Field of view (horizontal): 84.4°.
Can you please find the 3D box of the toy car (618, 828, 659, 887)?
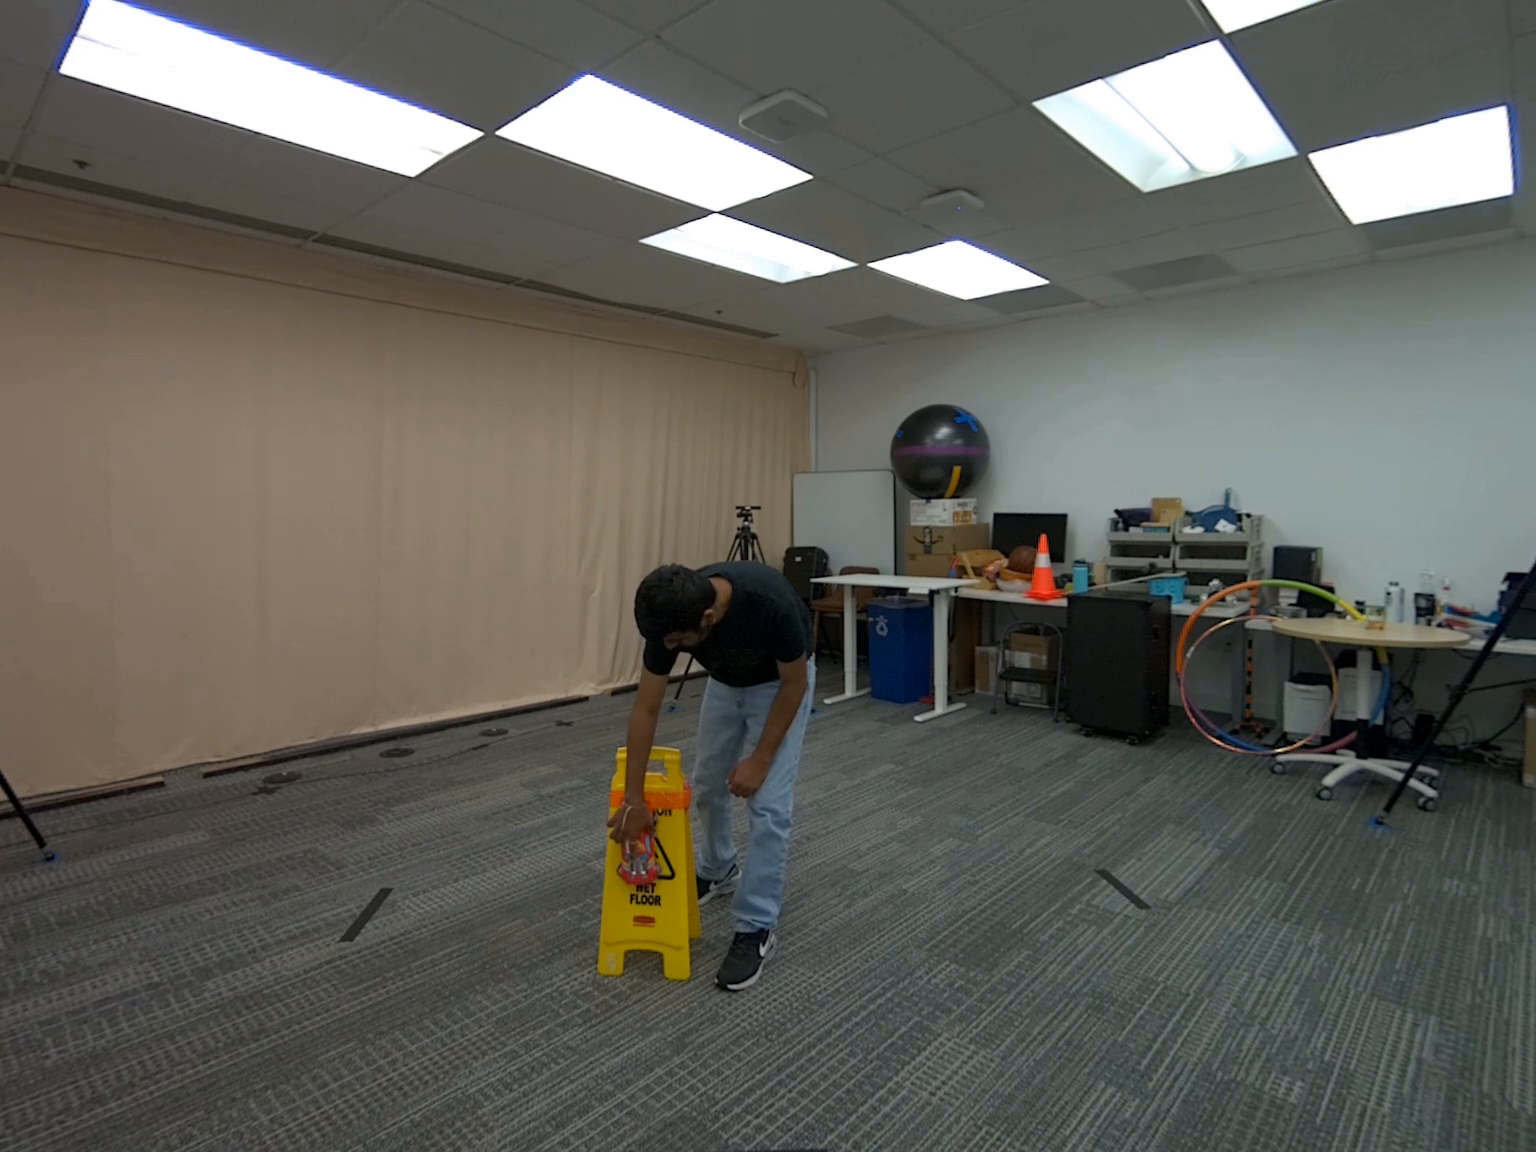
[{"bbox_3d":[-0.382,0.780,2.512,0.131,0.254,0.083,-7,3,5],"label":"toy car"}]
